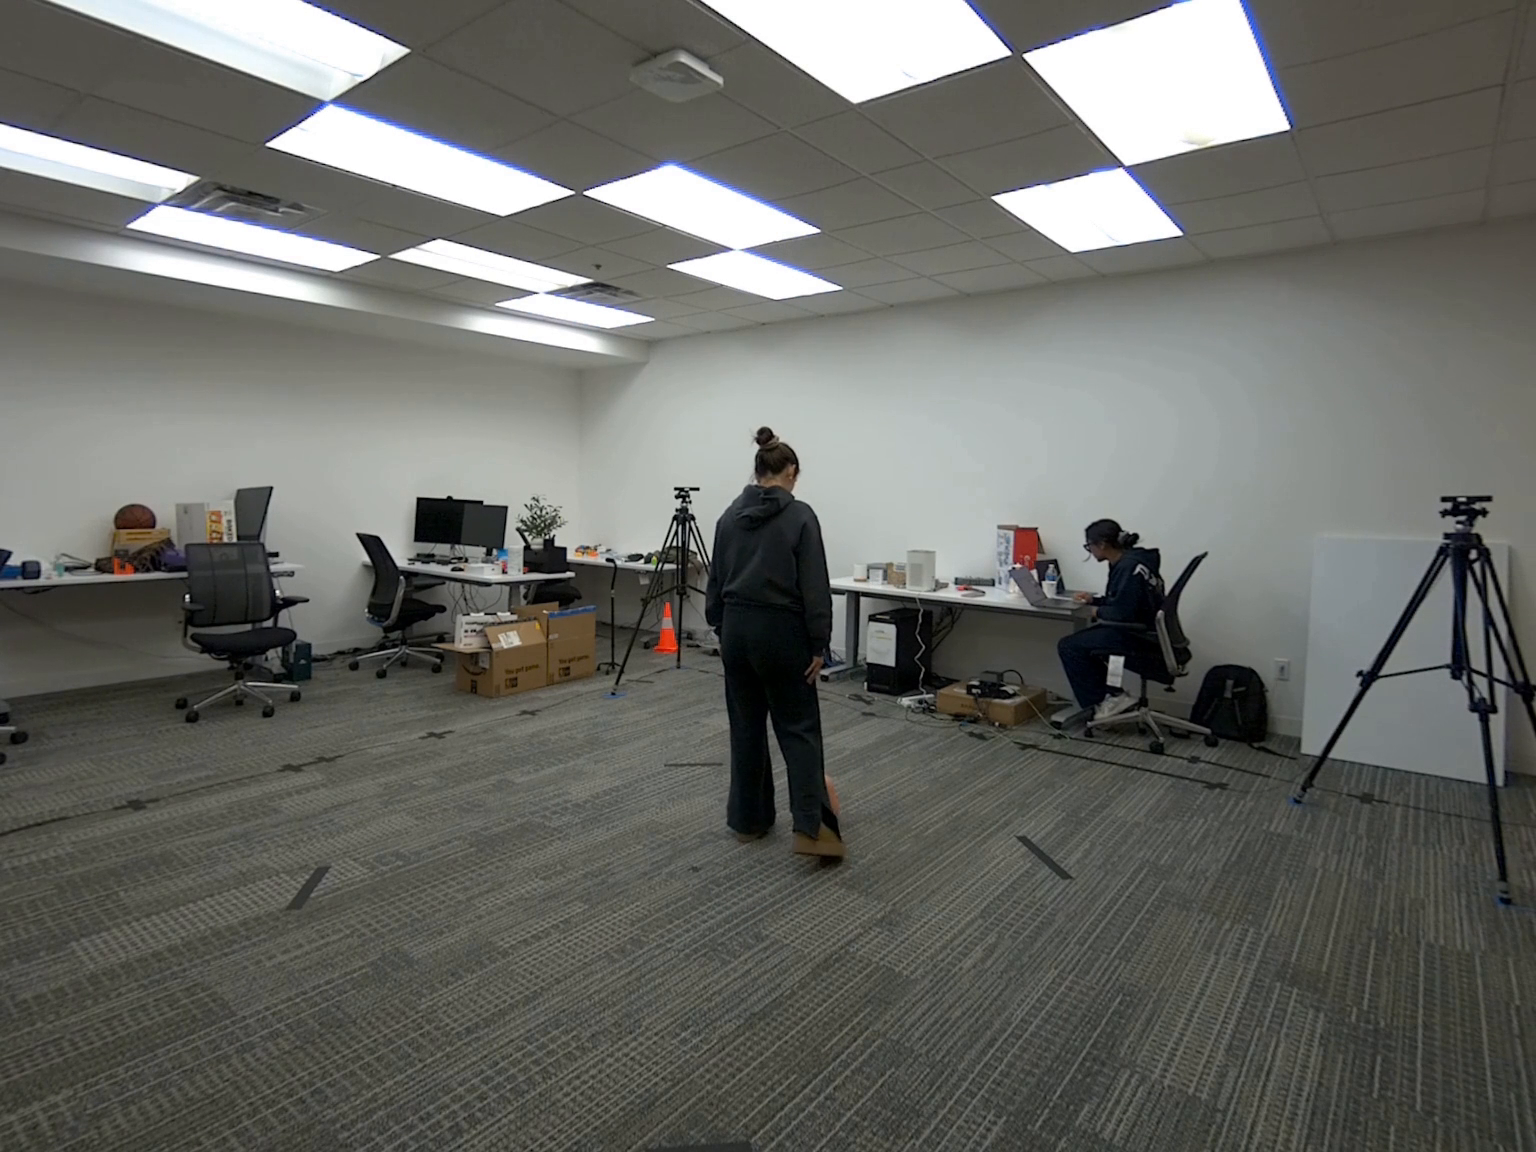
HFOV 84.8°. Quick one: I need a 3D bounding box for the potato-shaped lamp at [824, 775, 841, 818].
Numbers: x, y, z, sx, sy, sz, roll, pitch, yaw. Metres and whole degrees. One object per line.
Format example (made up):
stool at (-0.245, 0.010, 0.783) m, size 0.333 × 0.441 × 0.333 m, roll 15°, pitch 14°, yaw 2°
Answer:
potato-shaped lamp at (0.221, 0.923, 3.594) m, size 0.167 × 0.197 × 0.170 m, roll -9°, pitch 8°, yaw -42°
